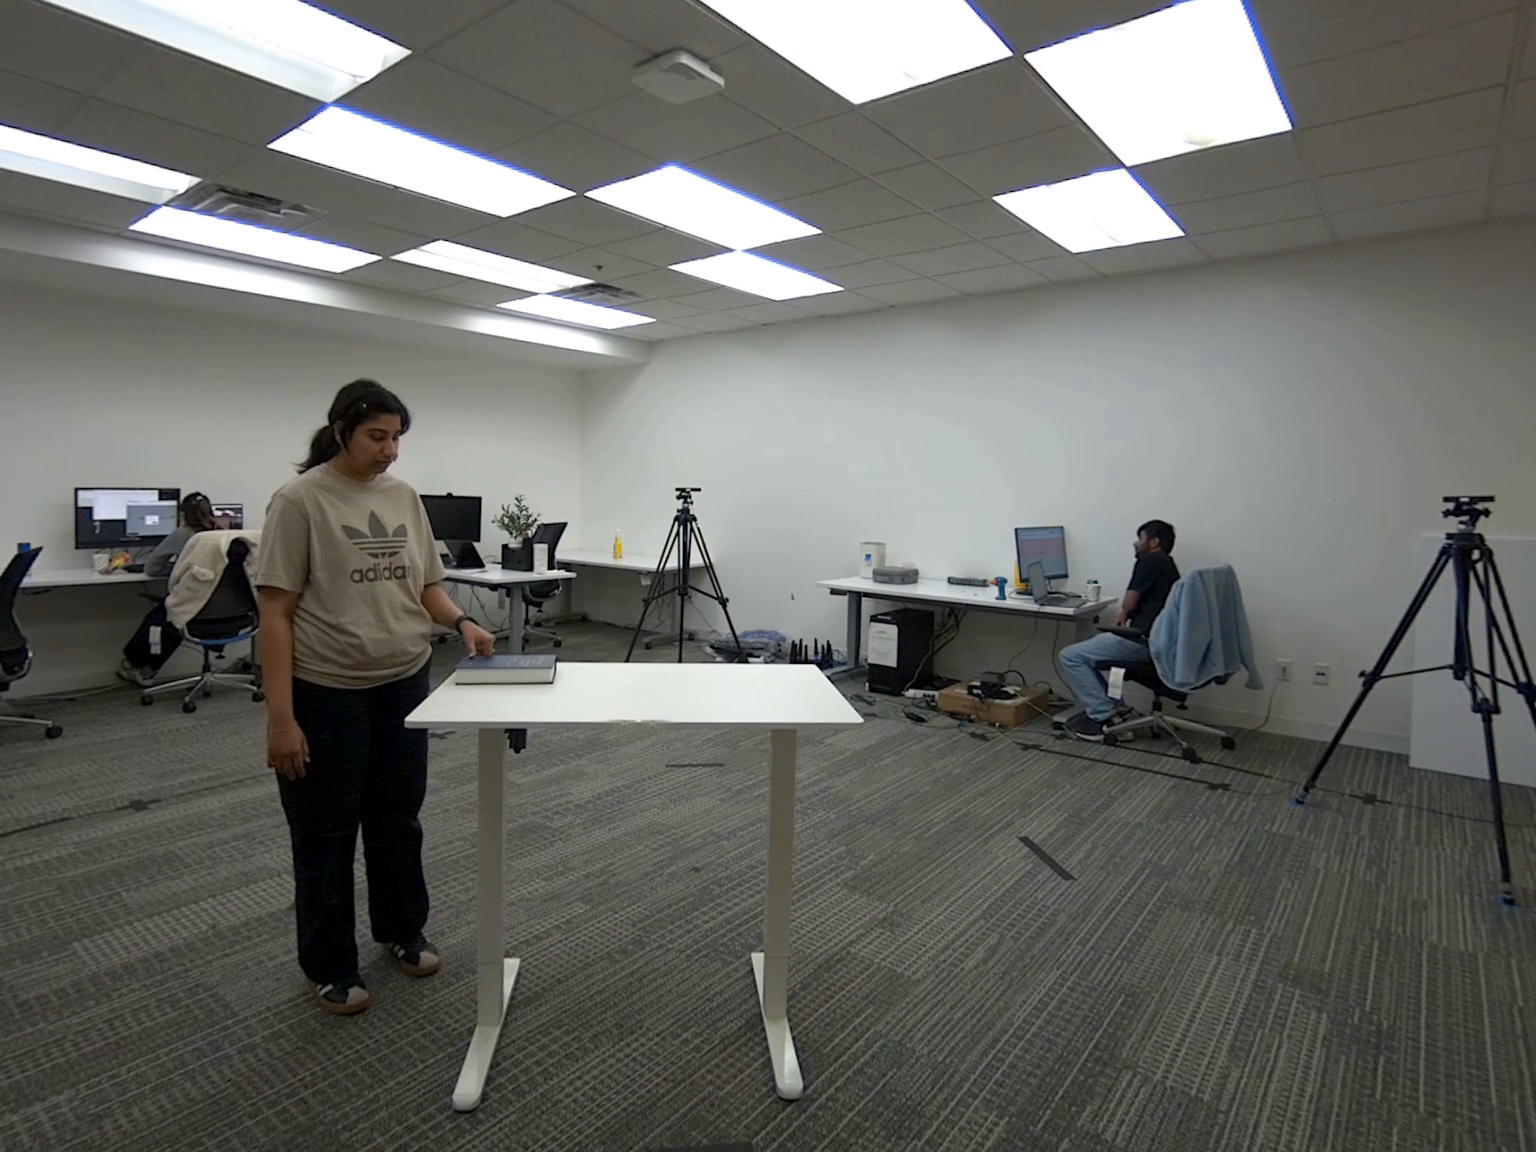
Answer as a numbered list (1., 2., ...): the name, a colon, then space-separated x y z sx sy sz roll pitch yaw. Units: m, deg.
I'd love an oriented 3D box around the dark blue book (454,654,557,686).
1. dark blue book: -0.700 0.247 2.233 0.244 0.045 0.165 1 6 -6
